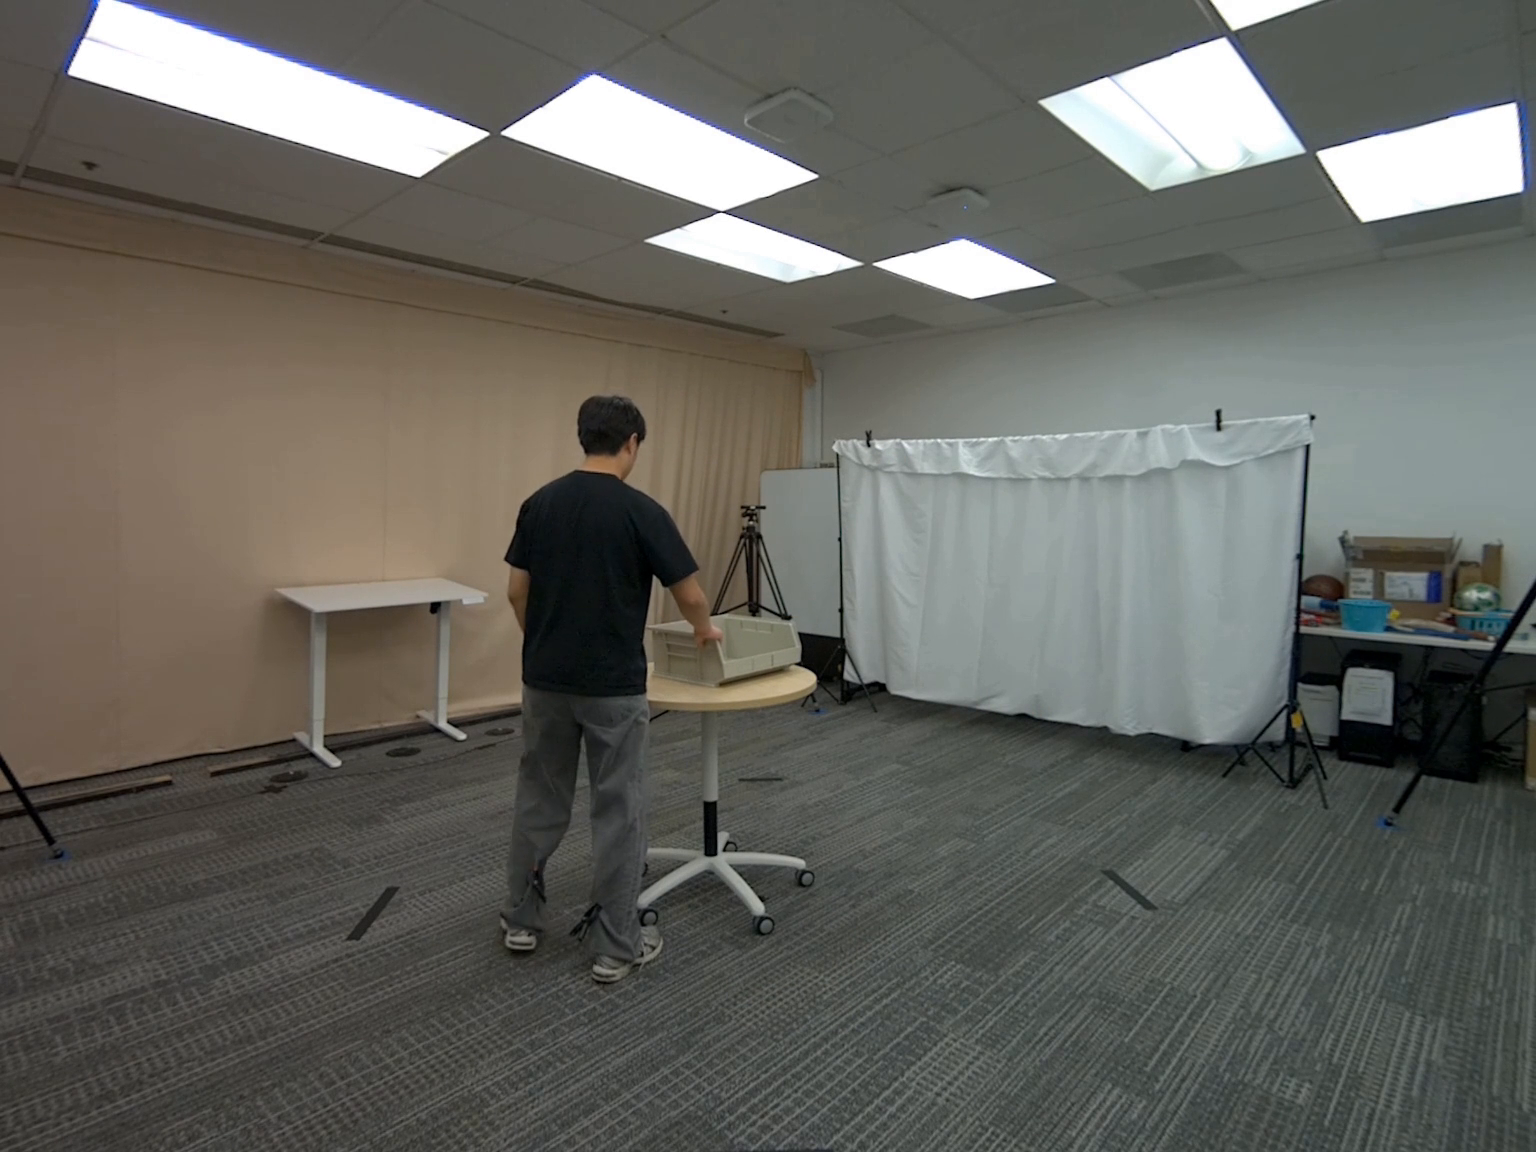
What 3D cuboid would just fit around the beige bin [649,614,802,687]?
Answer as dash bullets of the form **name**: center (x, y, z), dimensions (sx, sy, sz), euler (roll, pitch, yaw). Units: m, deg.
- **beige bin**: center (-0.149, 0.267, 3.058), dimensions (0.390, 0.188, 0.409), euler (1, 5, 43)
